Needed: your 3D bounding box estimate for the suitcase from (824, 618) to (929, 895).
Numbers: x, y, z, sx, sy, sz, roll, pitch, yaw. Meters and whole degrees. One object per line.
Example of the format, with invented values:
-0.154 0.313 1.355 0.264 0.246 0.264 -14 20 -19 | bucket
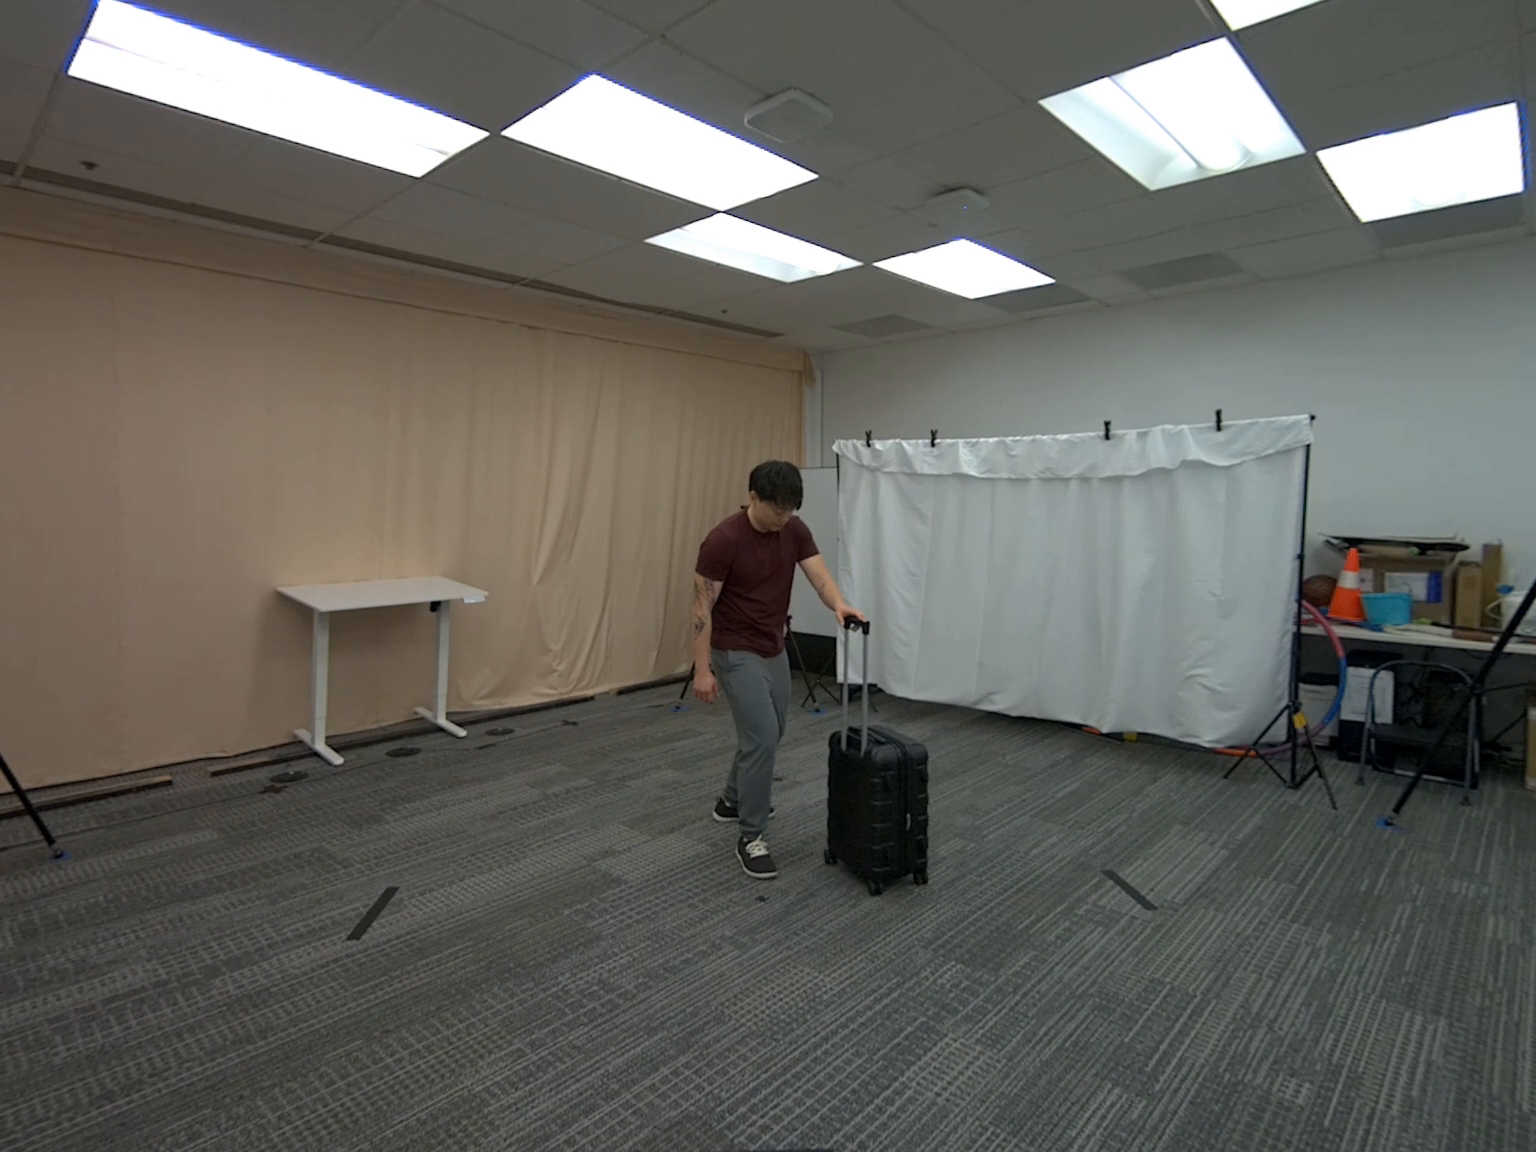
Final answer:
0.418 0.651 3.145 0.251 0.976 0.394 0 4 -25 | suitcase
